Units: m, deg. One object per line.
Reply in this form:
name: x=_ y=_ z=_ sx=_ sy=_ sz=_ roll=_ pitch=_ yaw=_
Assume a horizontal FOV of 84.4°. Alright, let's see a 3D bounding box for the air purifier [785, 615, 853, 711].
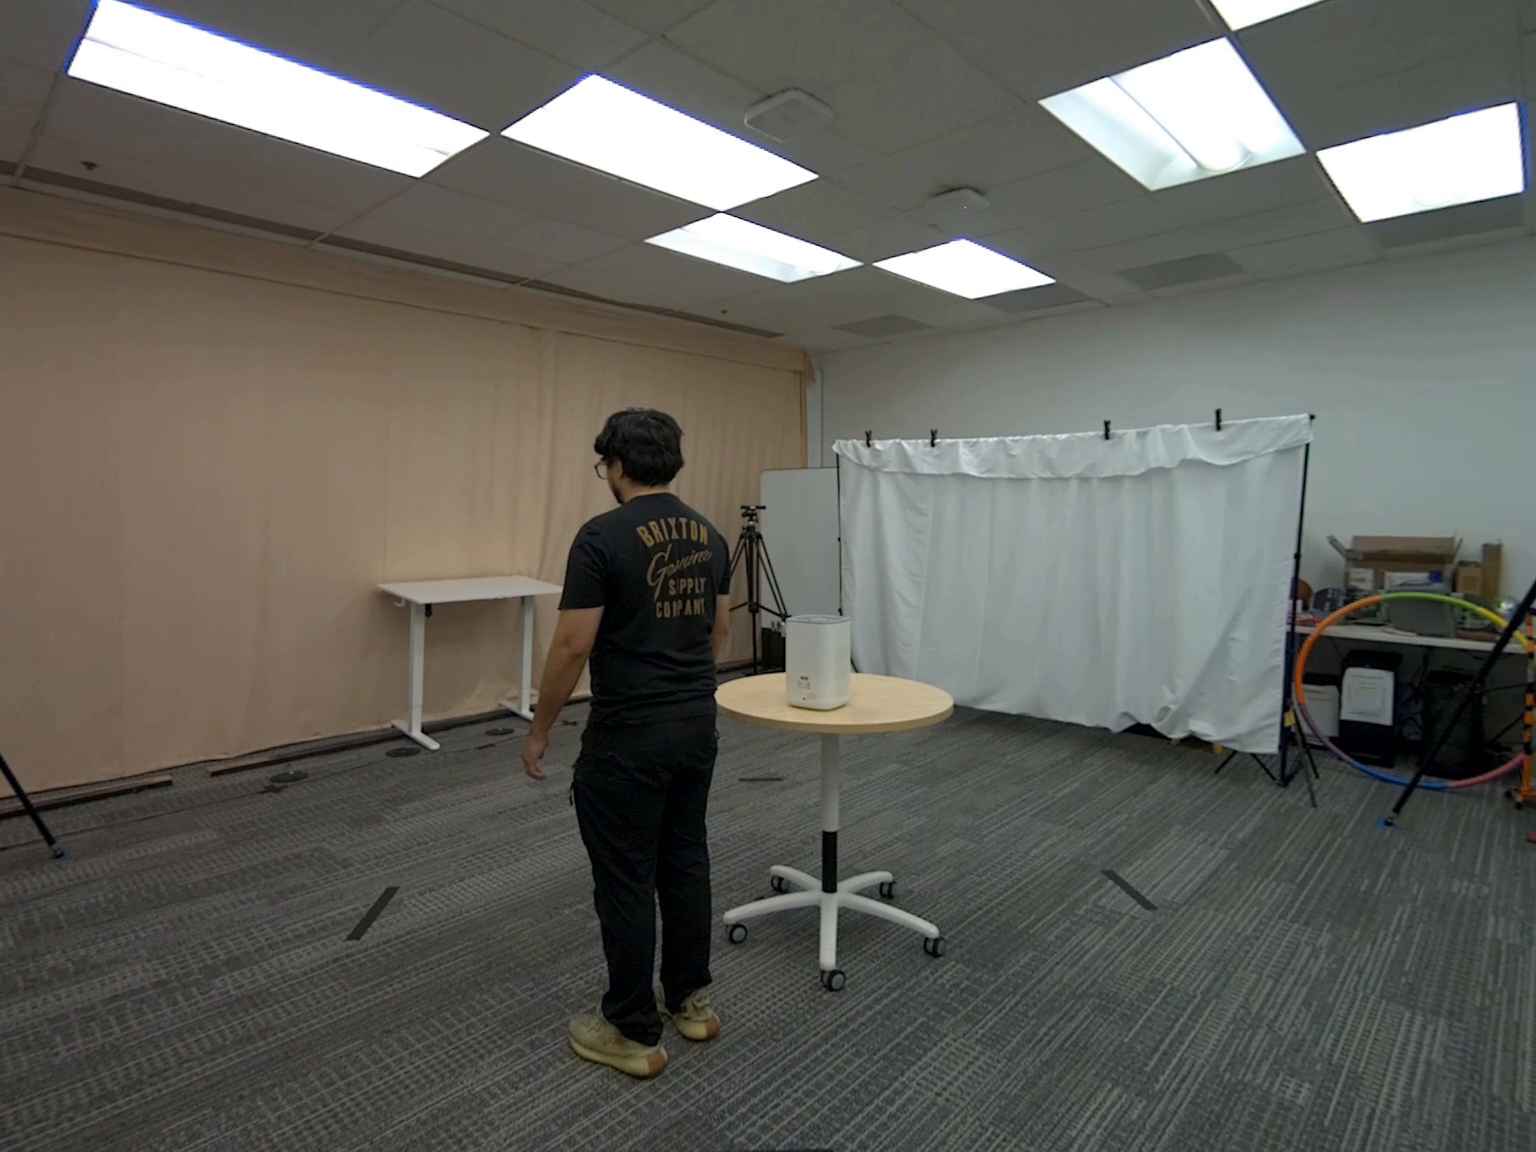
air purifier: x=0.161 y=0.263 z=2.552 sx=0.176 sy=0.265 sz=0.167 roll=1 pitch=3 yaw=31
